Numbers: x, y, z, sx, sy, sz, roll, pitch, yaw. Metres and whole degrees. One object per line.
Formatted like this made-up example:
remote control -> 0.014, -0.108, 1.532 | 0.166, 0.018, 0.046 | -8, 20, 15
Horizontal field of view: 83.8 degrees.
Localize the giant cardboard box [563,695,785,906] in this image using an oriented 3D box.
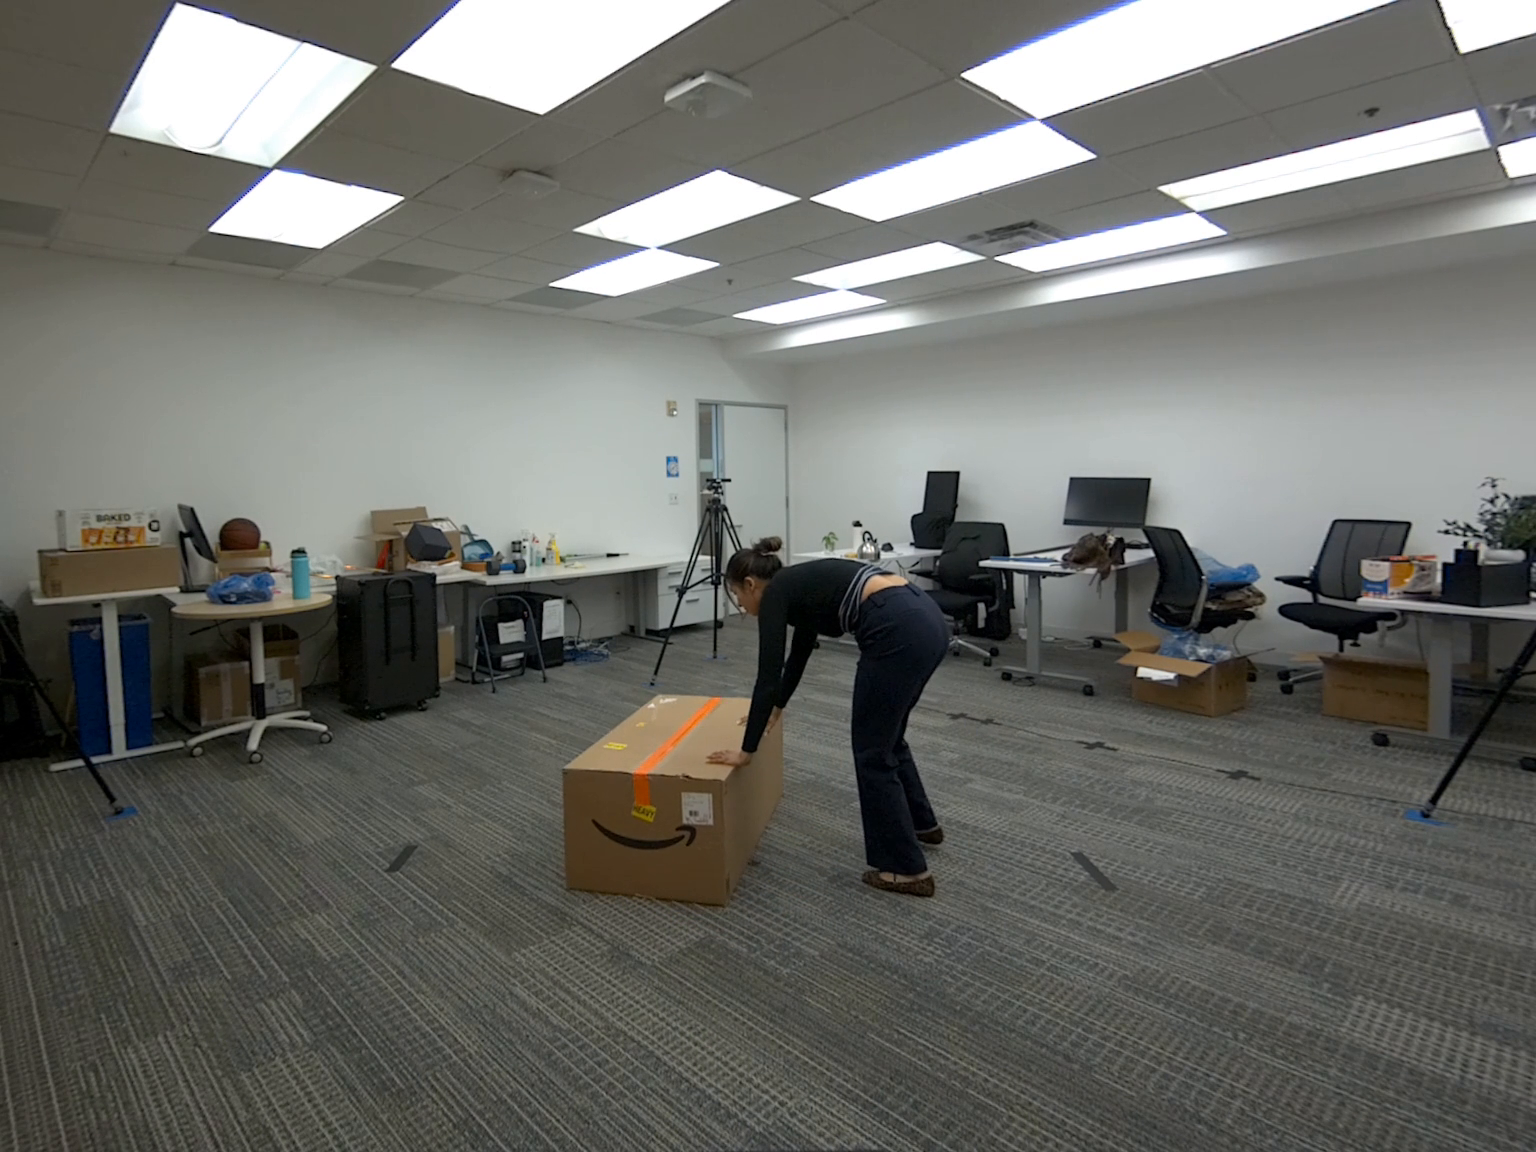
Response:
giant cardboard box -> -0.319, 0.806, 3.341 | 0.585, 0.424, 1.017 | 1, 6, 12
